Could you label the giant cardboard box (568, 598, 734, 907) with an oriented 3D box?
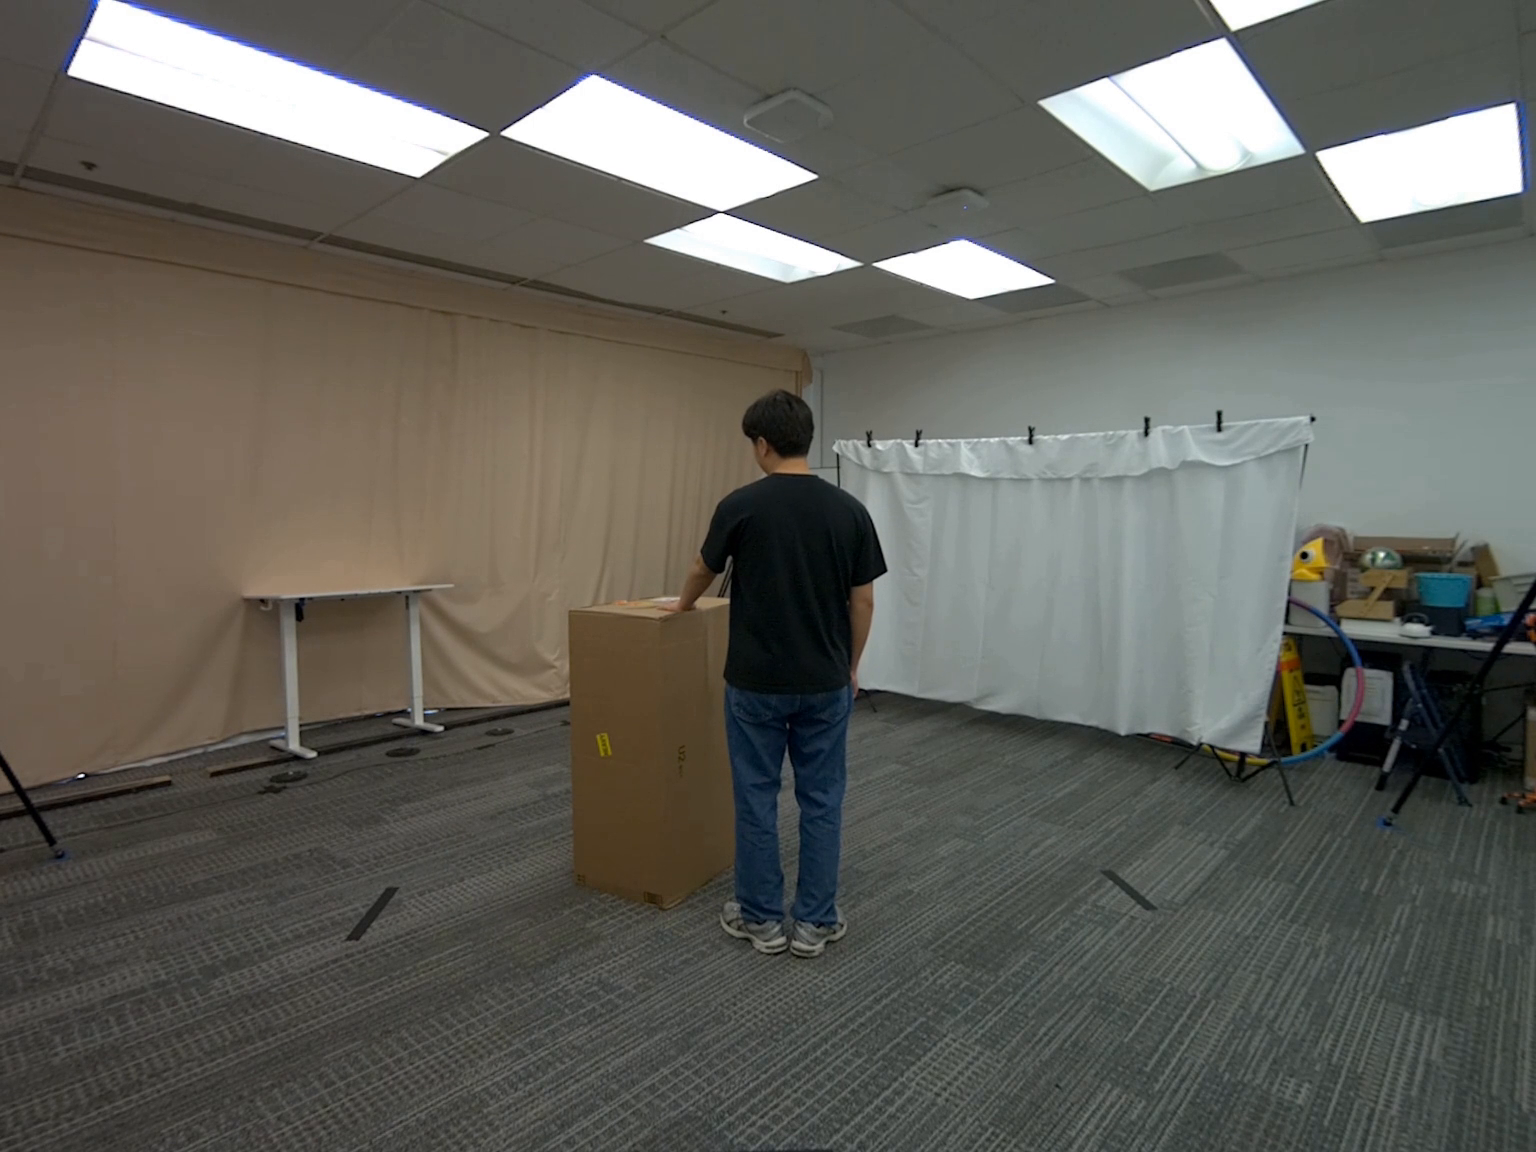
[{"bbox_3d":[-0.406,0.614,3.227,0.460,1.025,0.568,1,3,32],"label":"giant cardboard box"}]
